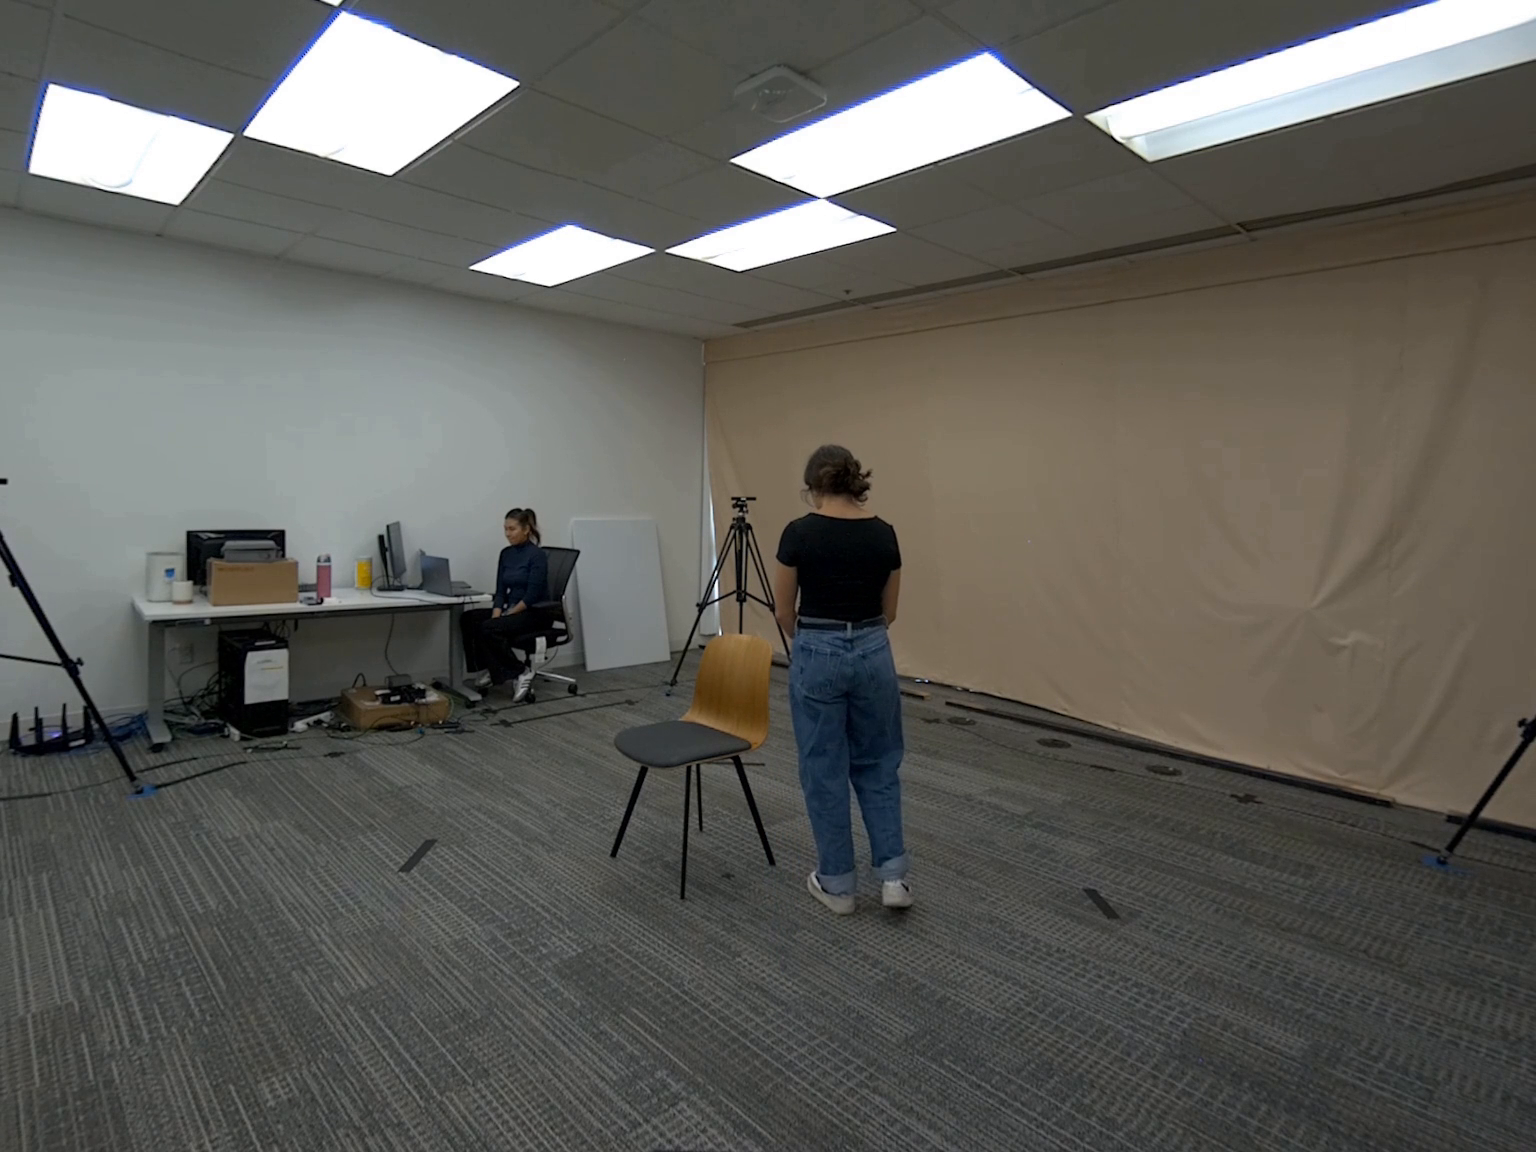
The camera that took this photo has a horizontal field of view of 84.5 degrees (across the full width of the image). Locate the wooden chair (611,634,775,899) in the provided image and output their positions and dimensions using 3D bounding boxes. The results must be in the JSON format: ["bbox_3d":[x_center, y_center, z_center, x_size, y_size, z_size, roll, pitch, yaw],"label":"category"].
[{"bbox_3d":[-0.290,0.672,3.192,0.510,0.877,0.490,4,1,-43],"label":"wooden chair"}]
